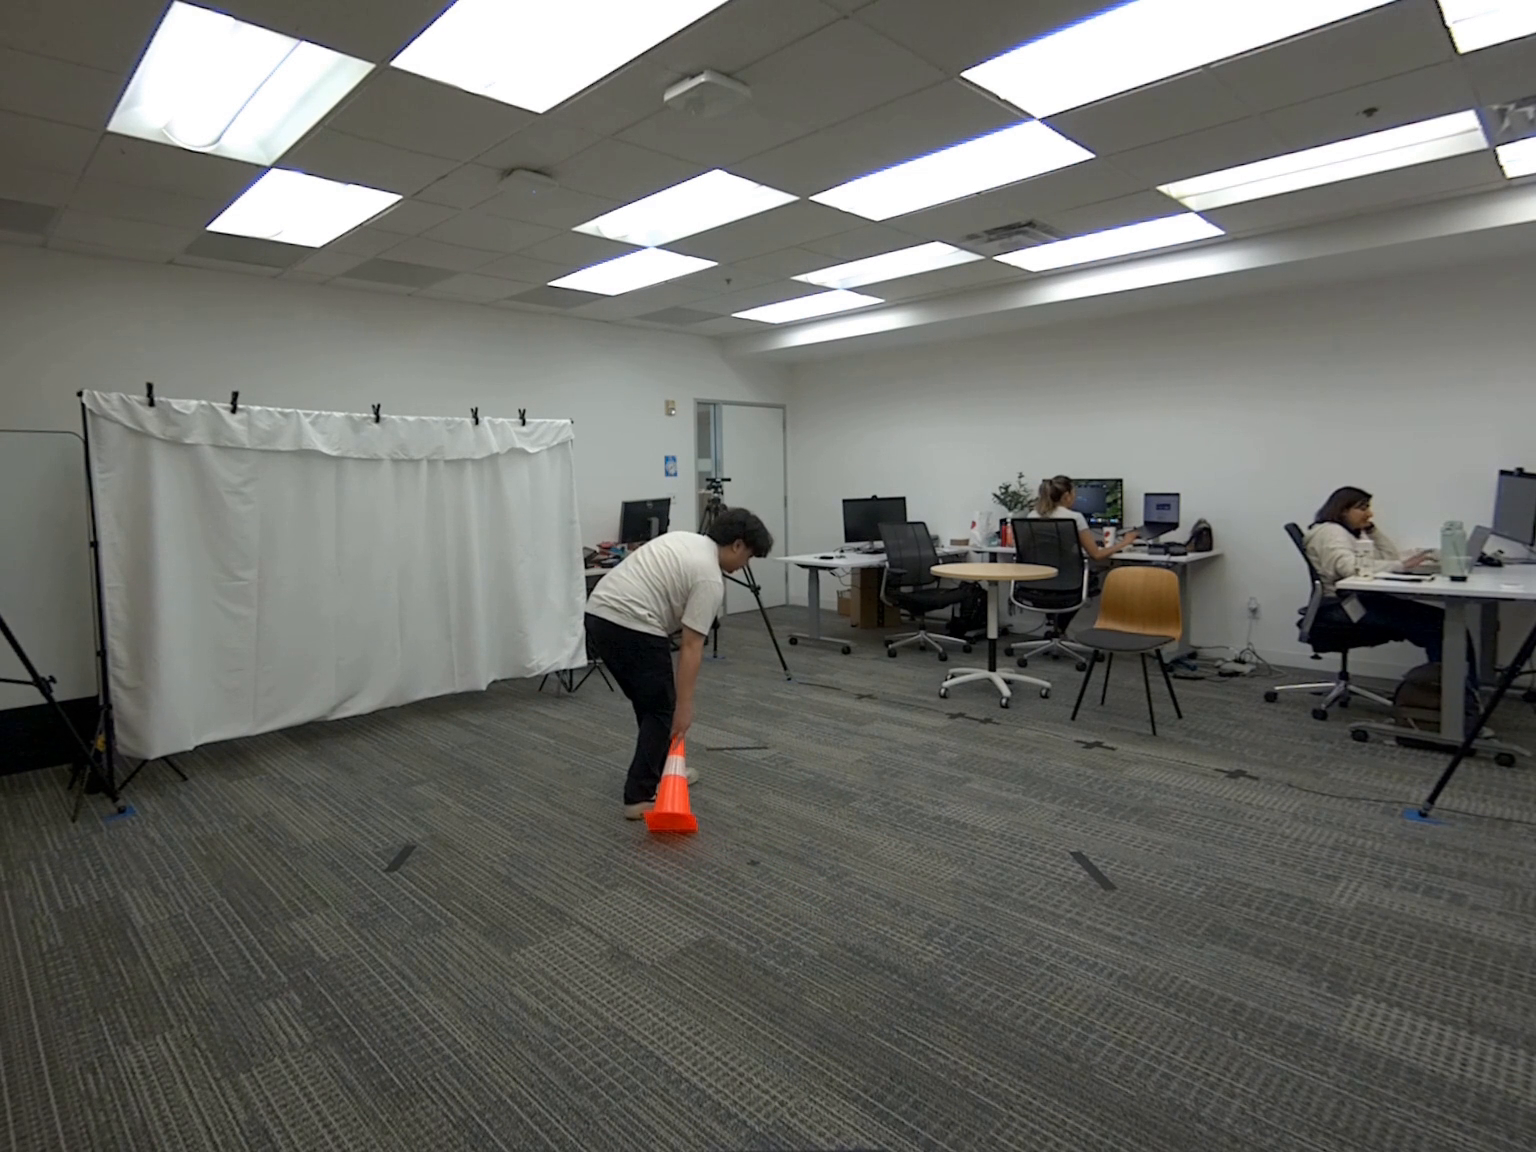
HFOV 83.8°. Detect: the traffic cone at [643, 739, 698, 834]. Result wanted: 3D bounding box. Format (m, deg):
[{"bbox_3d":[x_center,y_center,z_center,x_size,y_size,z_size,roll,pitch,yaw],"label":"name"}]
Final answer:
[{"bbox_3d":[-0.373,0.805,3.445,0.207,0.393,0.197,-2,-36,8],"label":"traffic cone"}]
